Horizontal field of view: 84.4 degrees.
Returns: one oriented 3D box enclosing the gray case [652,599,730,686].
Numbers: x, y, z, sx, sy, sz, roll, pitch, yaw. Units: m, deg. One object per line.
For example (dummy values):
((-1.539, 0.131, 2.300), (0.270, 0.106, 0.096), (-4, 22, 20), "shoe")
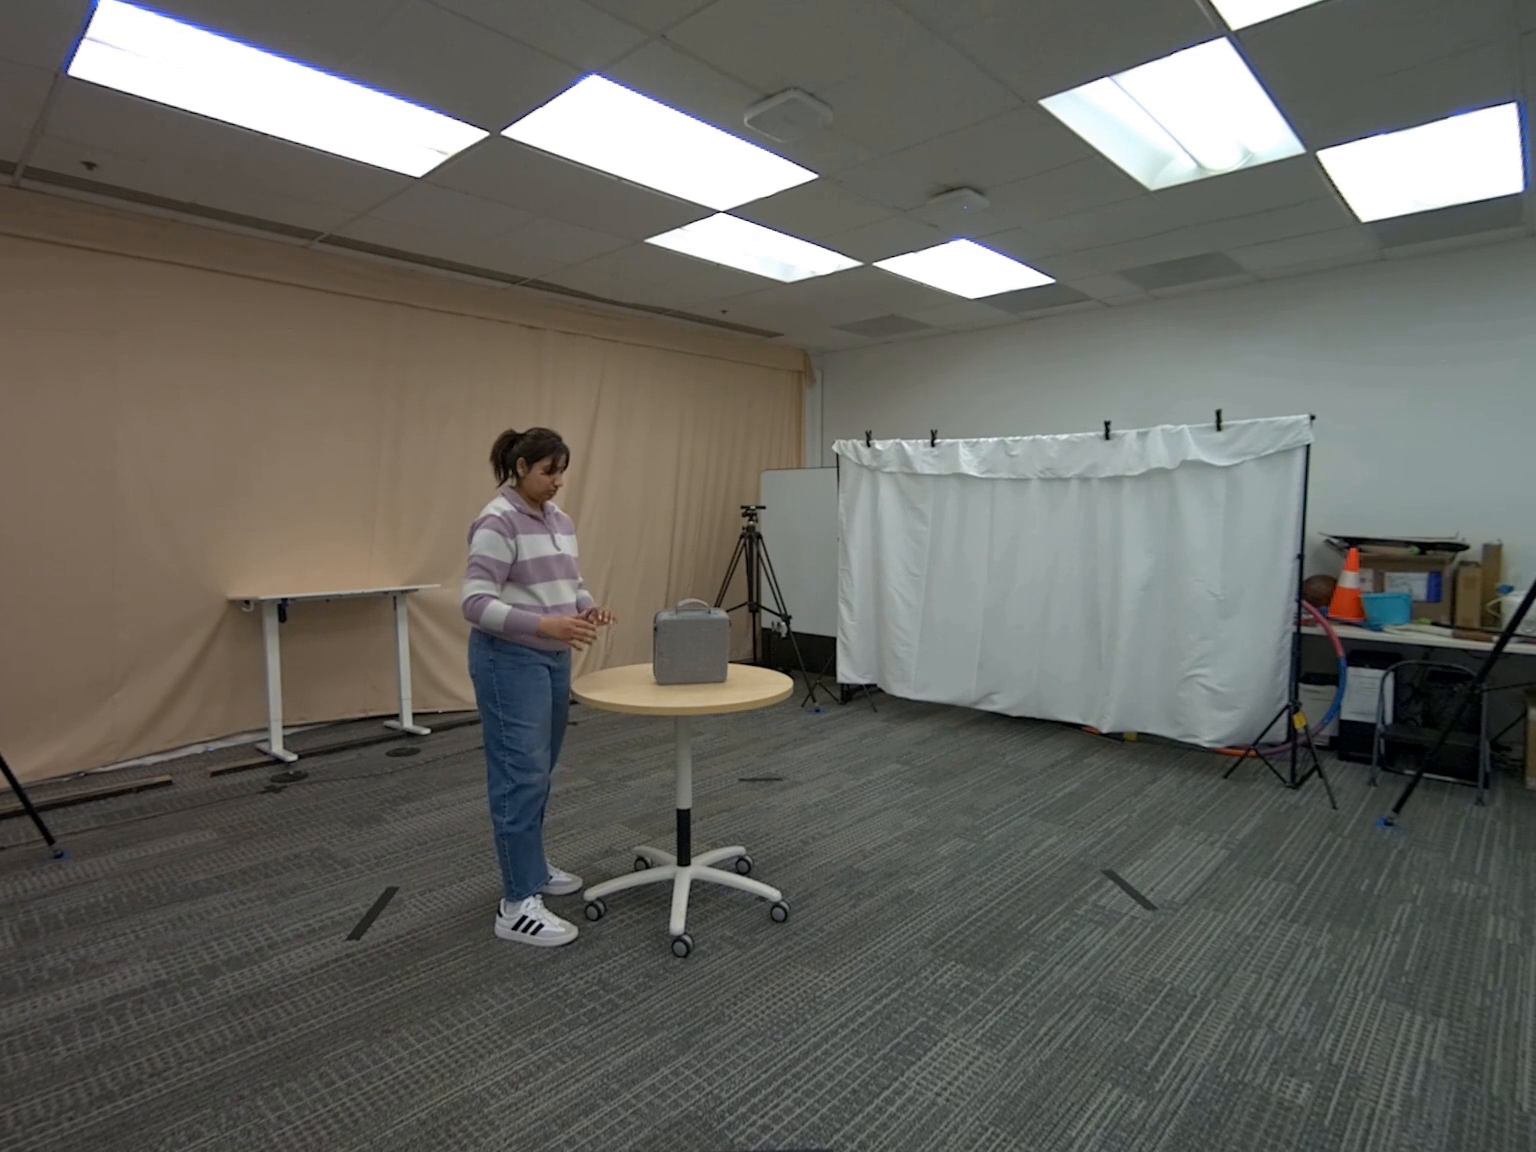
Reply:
((-0.262, 0.240, 2.879), (0.255, 0.258, 0.106), (0, 14, -8), "gray case")
